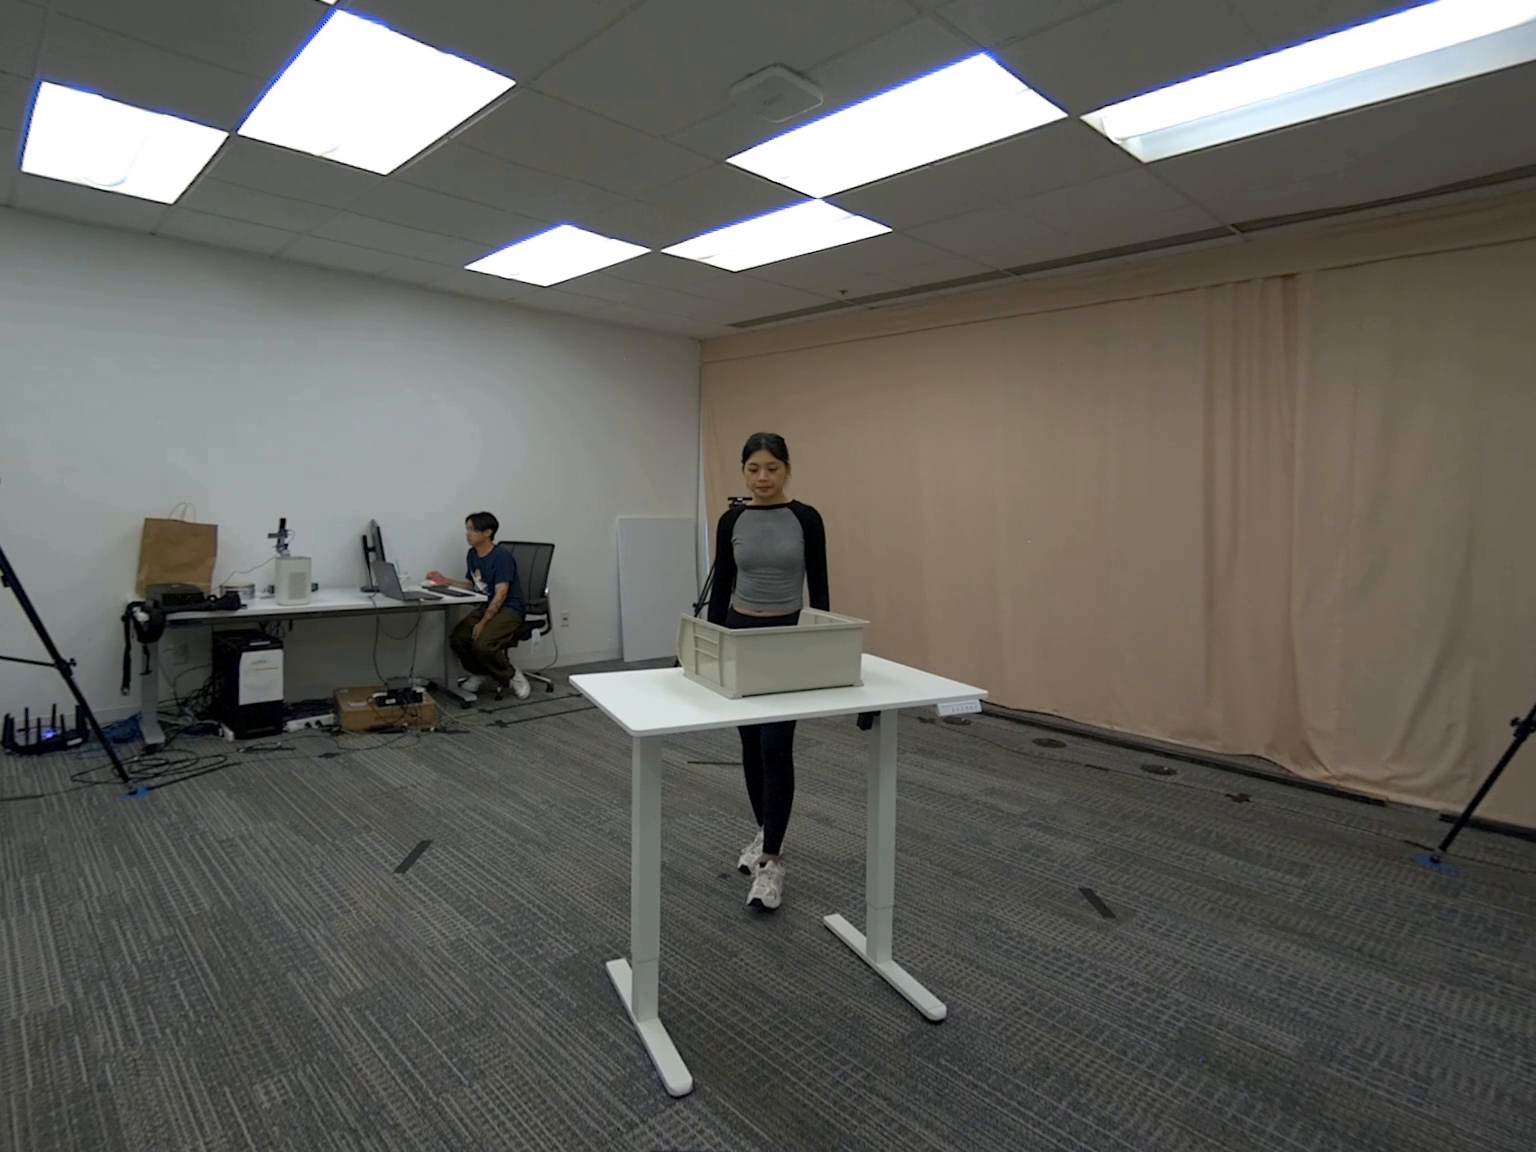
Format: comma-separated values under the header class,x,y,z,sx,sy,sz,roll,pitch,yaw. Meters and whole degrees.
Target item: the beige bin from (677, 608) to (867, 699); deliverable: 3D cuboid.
class,x,y,z,sx,sy,sz,roll,pitch,yaw
beige bin,-0.002,0.208,2.373,0.414,0.188,0.386,0,6,-27
